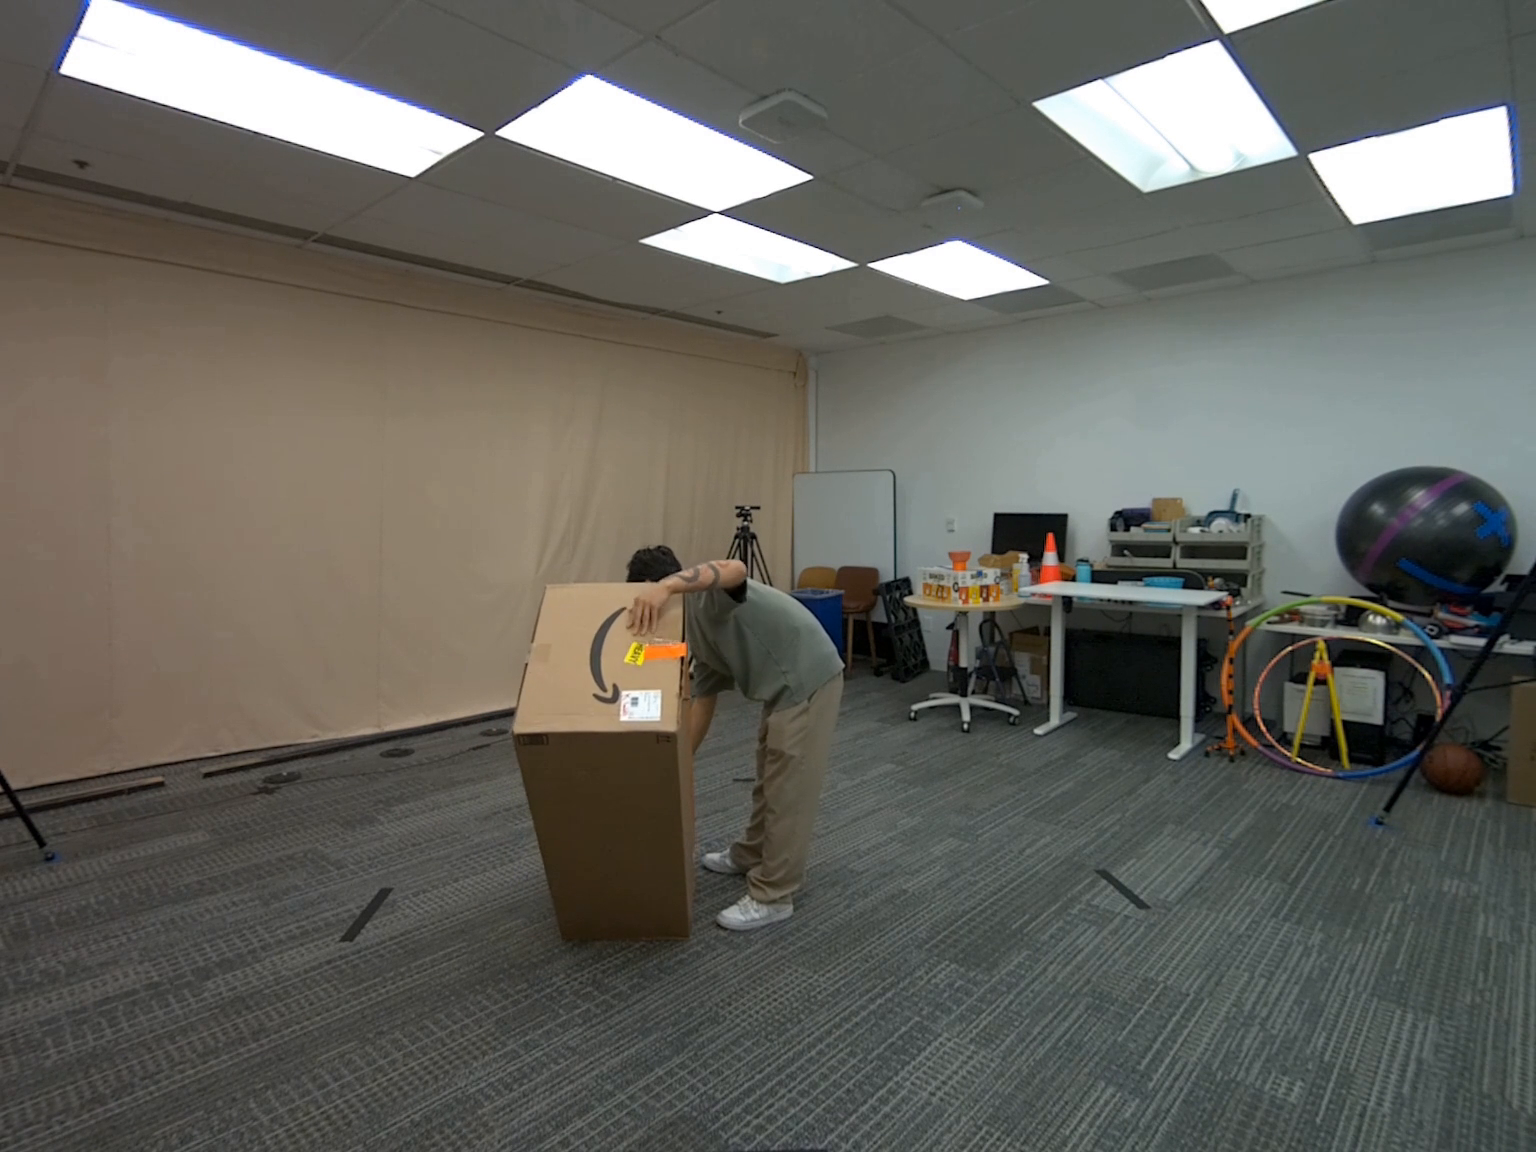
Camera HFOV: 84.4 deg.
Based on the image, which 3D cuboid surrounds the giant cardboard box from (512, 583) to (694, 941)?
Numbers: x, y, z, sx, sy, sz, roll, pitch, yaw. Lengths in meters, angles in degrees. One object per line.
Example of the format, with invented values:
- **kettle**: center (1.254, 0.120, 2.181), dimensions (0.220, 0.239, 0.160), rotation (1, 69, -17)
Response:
- **giant cardboard box**: center (-0.466, 0.603, 2.618), dimensions (0.425, 1.008, 0.589), rotation (1, 38, -3)
